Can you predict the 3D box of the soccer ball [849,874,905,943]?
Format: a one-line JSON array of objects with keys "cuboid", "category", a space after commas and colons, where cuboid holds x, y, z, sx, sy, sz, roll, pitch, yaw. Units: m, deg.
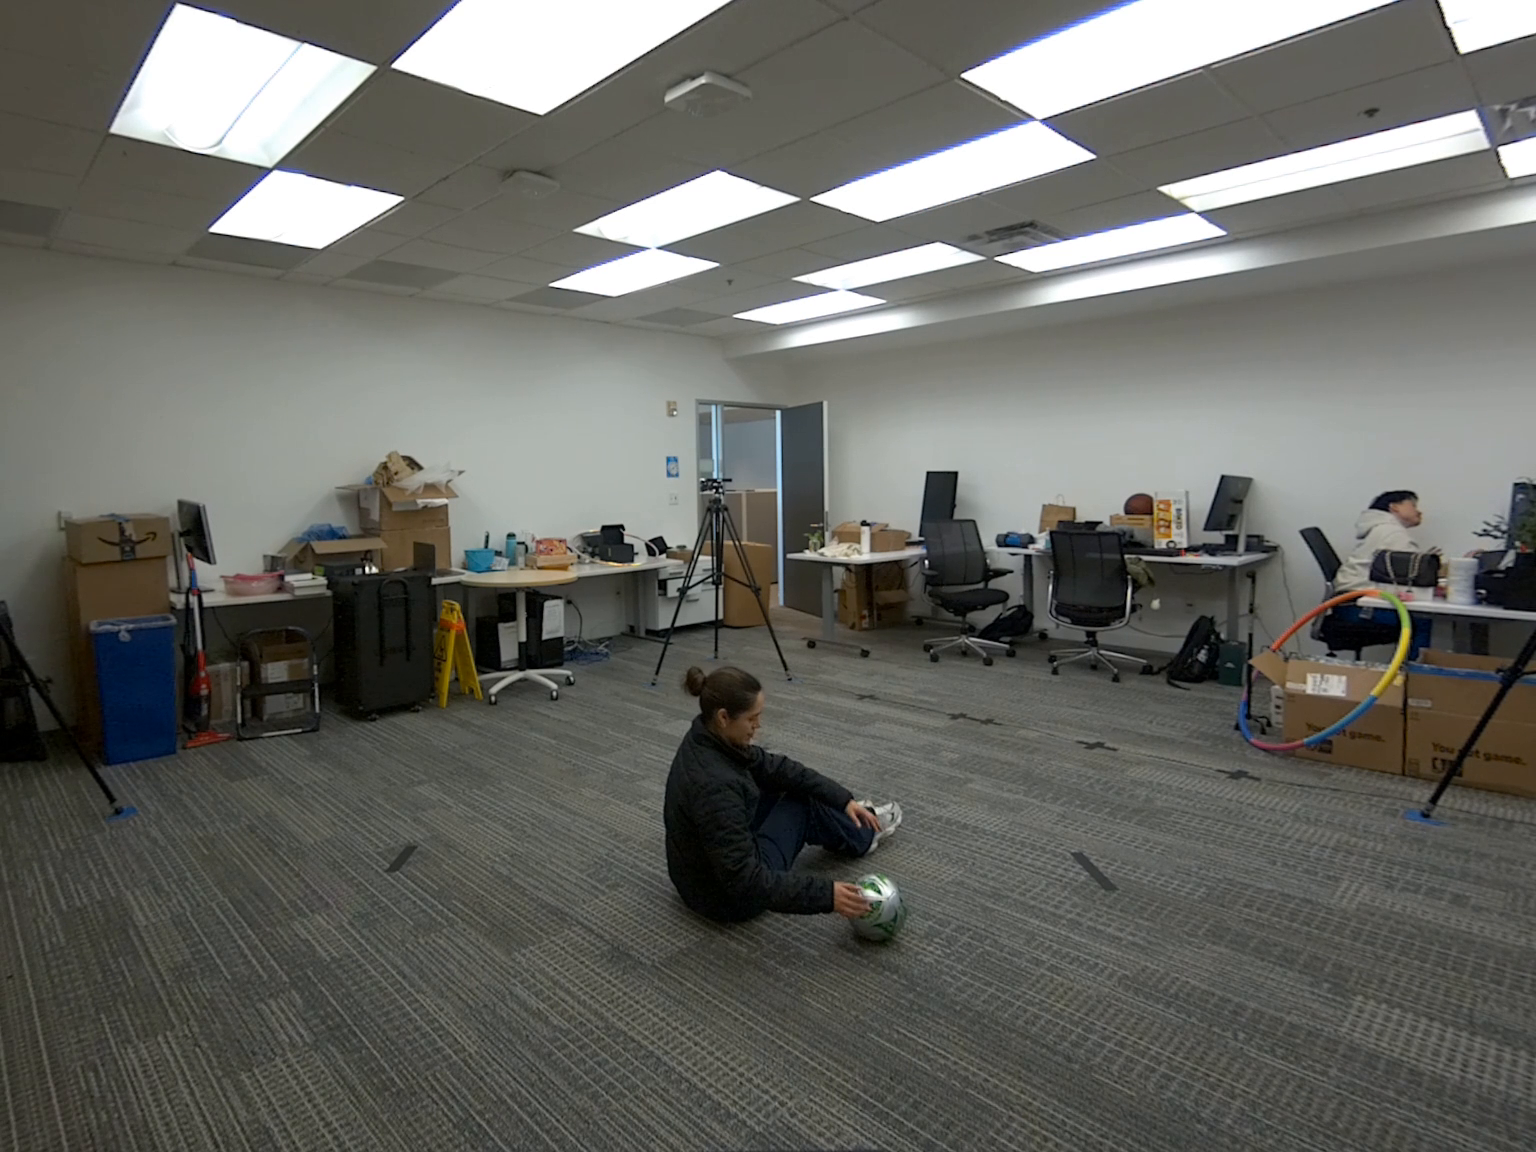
[{"cuboid": [0.327, 1.003, 2.590, 0.187, 0.187, 0.188, 0, 1, -2], "category": "soccer ball"}]
